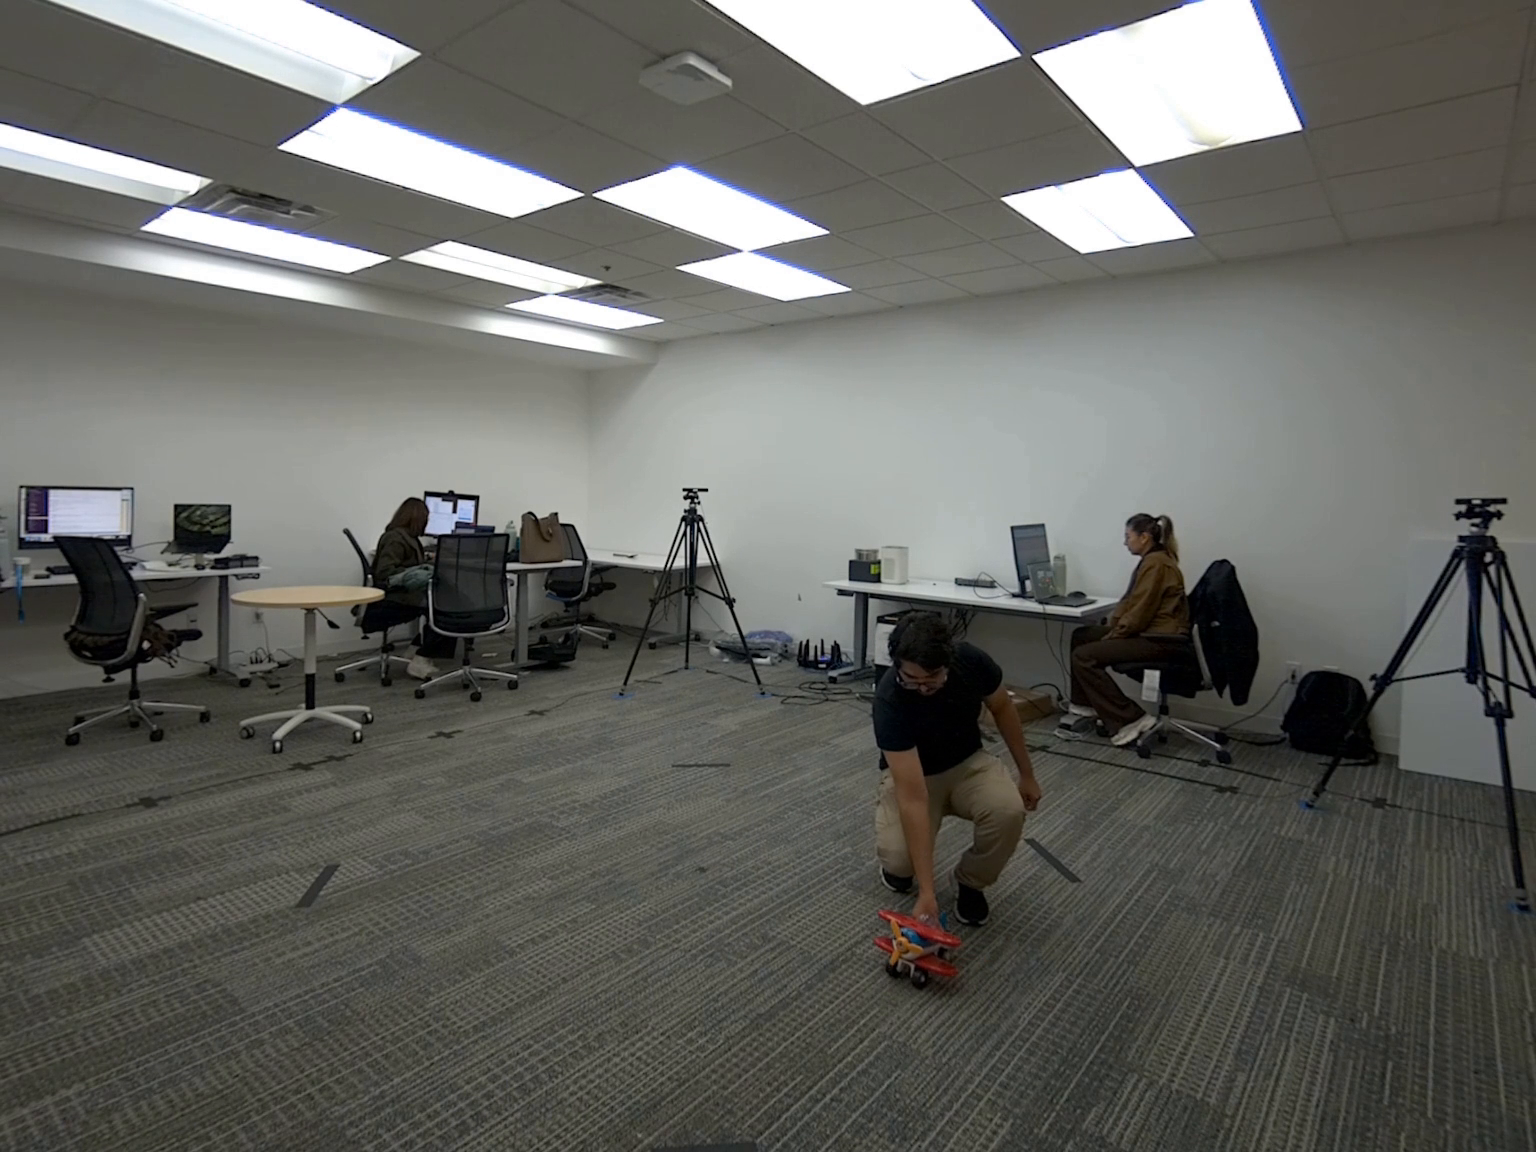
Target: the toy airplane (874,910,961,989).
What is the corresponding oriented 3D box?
[{"bbox_3d":[0.431,1.067,2.498,0.255,0.156,0.257,1,6,12],"label":"toy airplane"}]
